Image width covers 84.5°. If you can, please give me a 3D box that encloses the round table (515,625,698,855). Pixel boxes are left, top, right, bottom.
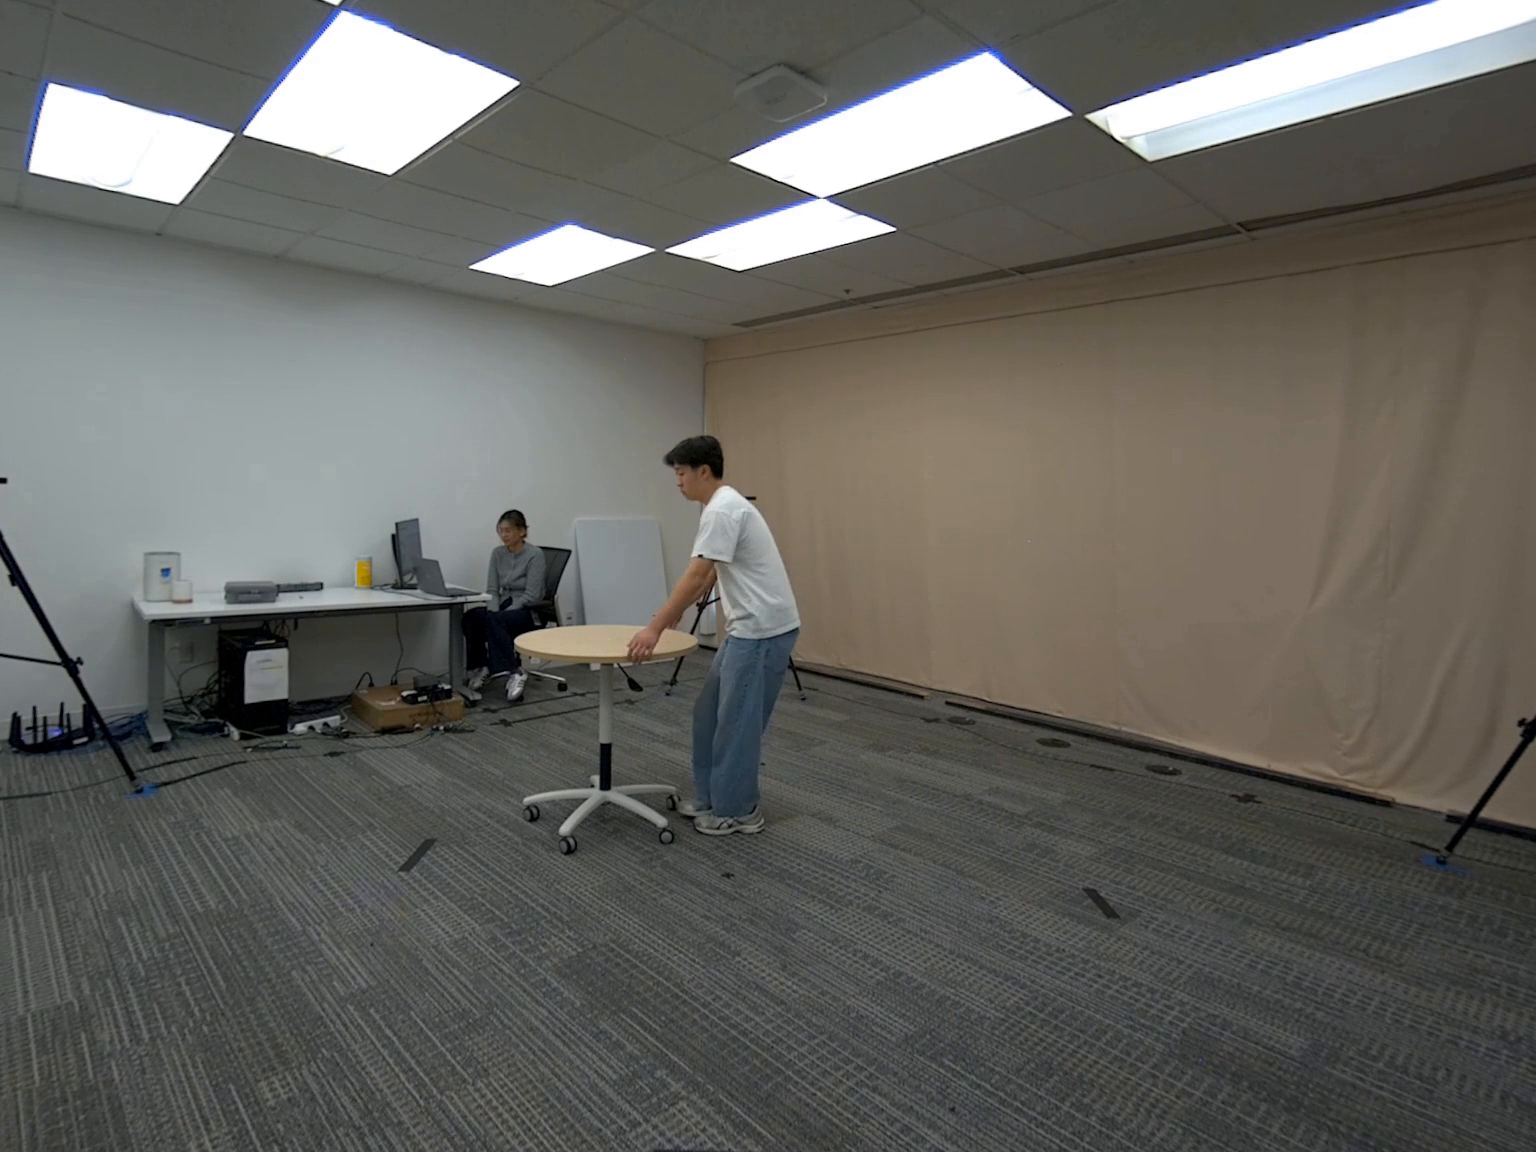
[{"bbox_3d":[-0.693,0.660,3.564,0.763,0.792,0.766,1,4,-1],"label":"round table"}]
